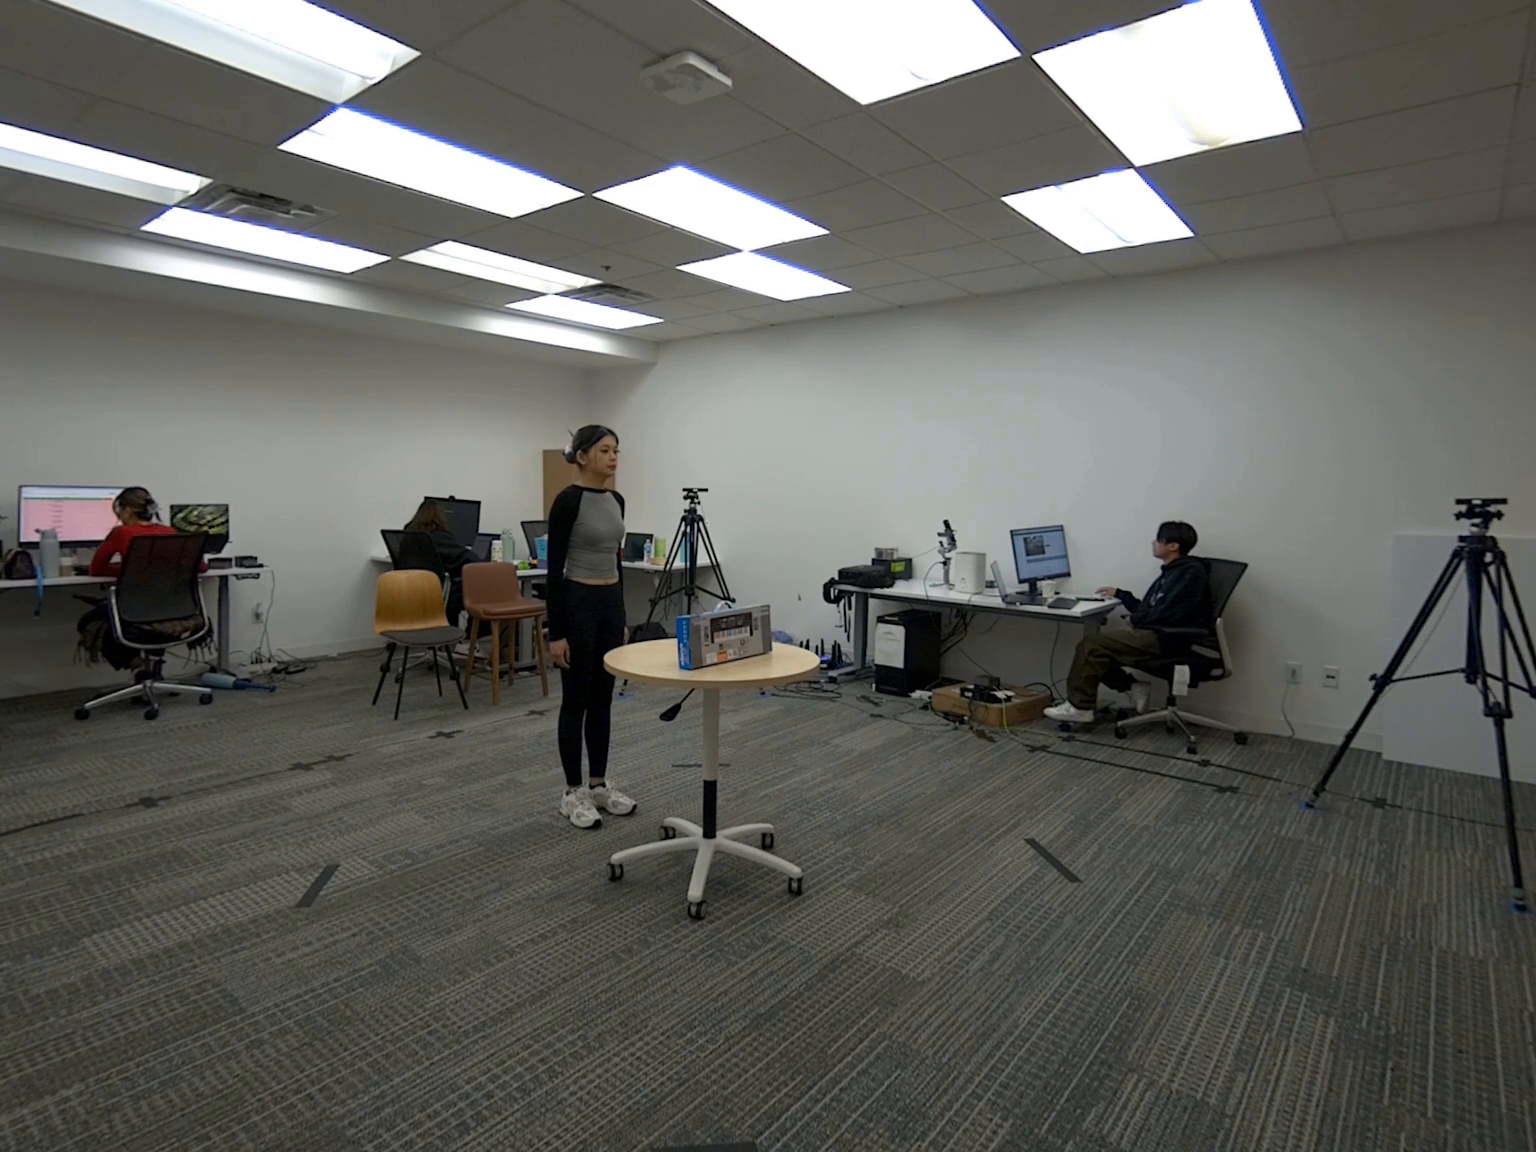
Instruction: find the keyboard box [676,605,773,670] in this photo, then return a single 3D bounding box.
[{"bbox_3d":[-0.152,0.205,2.966,0.061,0.176,0.424,-4,1,40],"label":"keyboard box"}]
